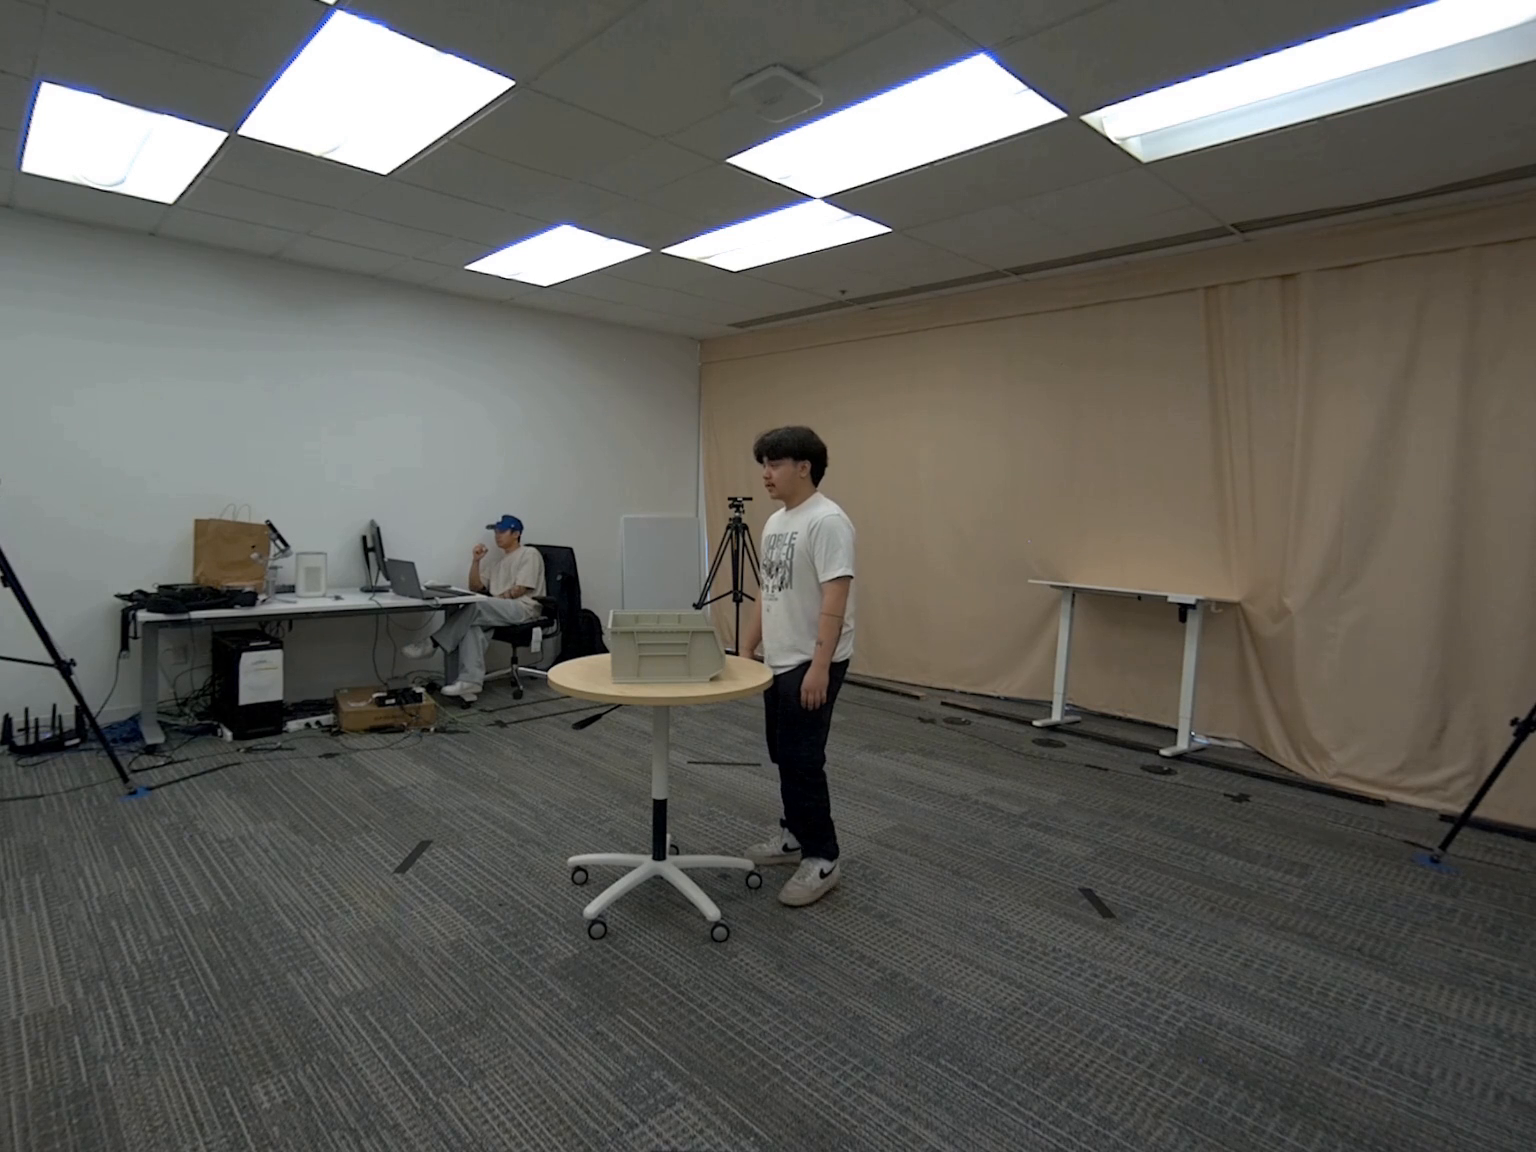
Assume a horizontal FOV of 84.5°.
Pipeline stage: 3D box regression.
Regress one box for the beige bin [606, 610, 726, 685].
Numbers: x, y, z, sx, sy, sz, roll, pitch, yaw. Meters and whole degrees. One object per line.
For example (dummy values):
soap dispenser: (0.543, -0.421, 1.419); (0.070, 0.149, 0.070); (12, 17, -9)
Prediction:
beige bin: (-0.361, 0.237, 2.889); (0.375, 0.188, 0.427); (-1, 5, -9)
